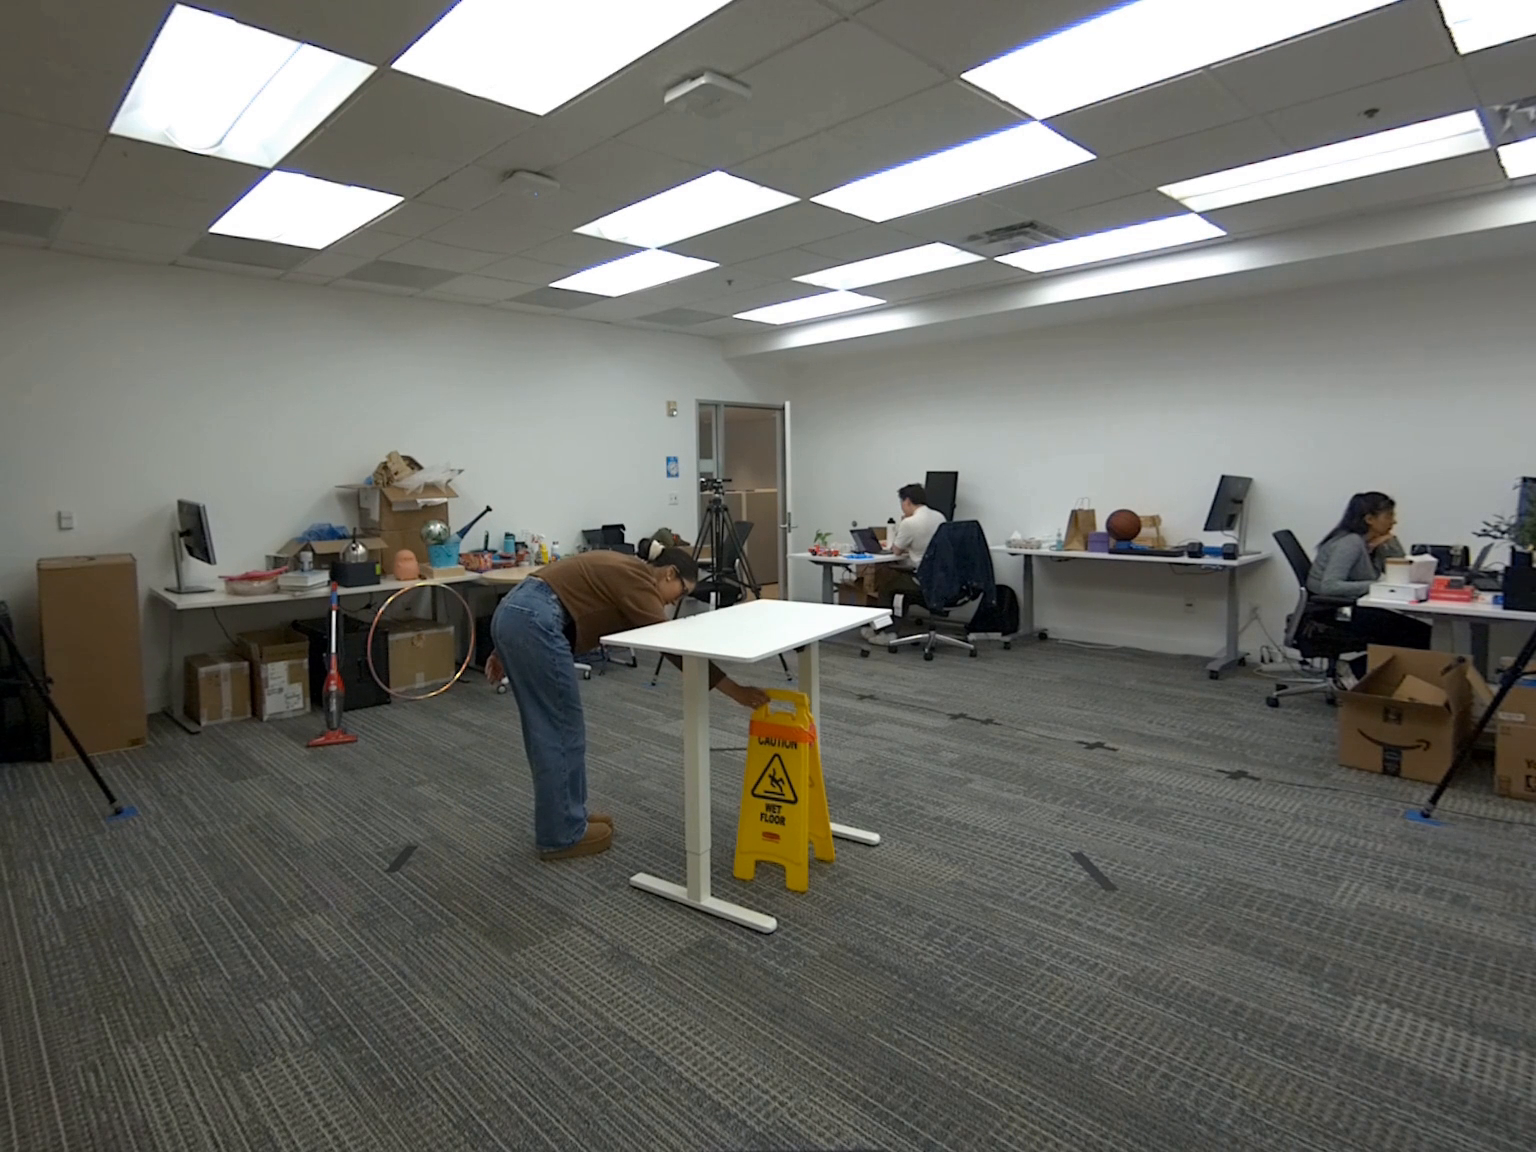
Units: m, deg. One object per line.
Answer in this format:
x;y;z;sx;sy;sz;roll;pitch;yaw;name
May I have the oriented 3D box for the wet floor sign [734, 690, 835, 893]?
0.056;0.726;3.033;0.289;0.644;0.284;0;4;27;wet floor sign
